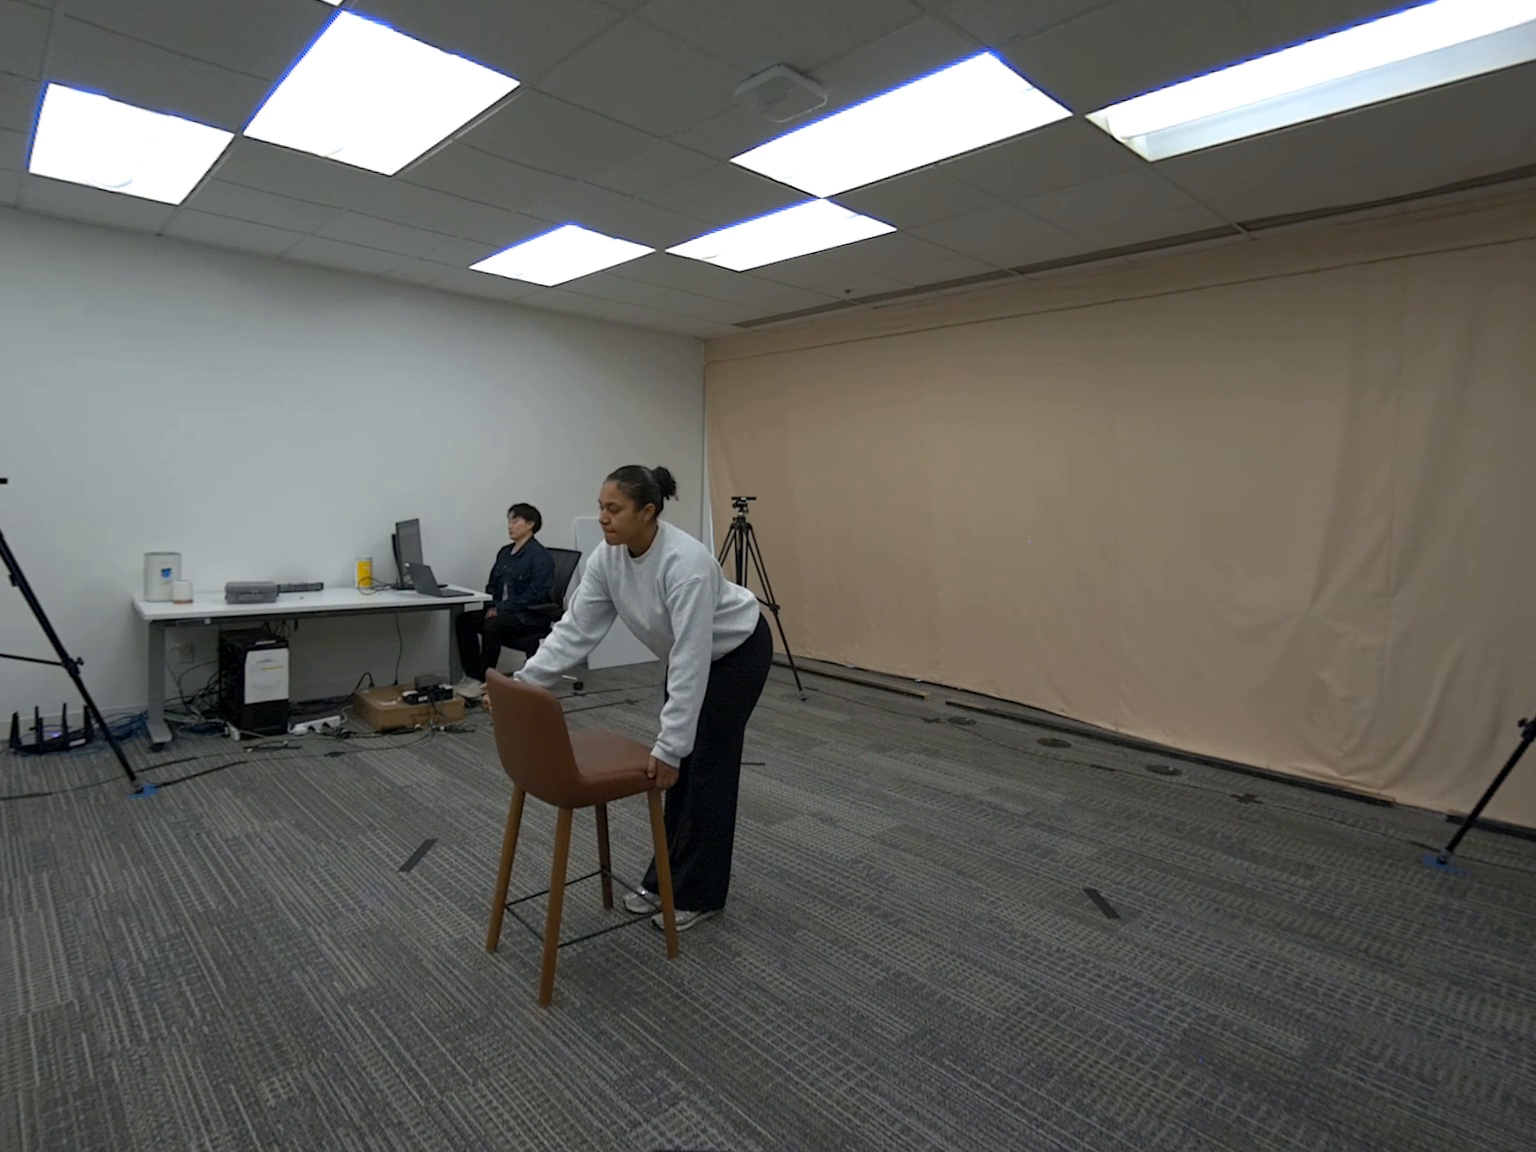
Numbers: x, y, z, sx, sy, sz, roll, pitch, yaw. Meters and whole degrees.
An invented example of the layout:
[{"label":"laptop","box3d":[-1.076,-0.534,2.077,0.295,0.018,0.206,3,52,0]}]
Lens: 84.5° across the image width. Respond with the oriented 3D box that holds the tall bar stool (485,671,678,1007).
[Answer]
[{"label":"tall bar stool","box3d":[-0.567,0.708,2.533,0.457,0.887,0.468,-4,5,-40]}]
